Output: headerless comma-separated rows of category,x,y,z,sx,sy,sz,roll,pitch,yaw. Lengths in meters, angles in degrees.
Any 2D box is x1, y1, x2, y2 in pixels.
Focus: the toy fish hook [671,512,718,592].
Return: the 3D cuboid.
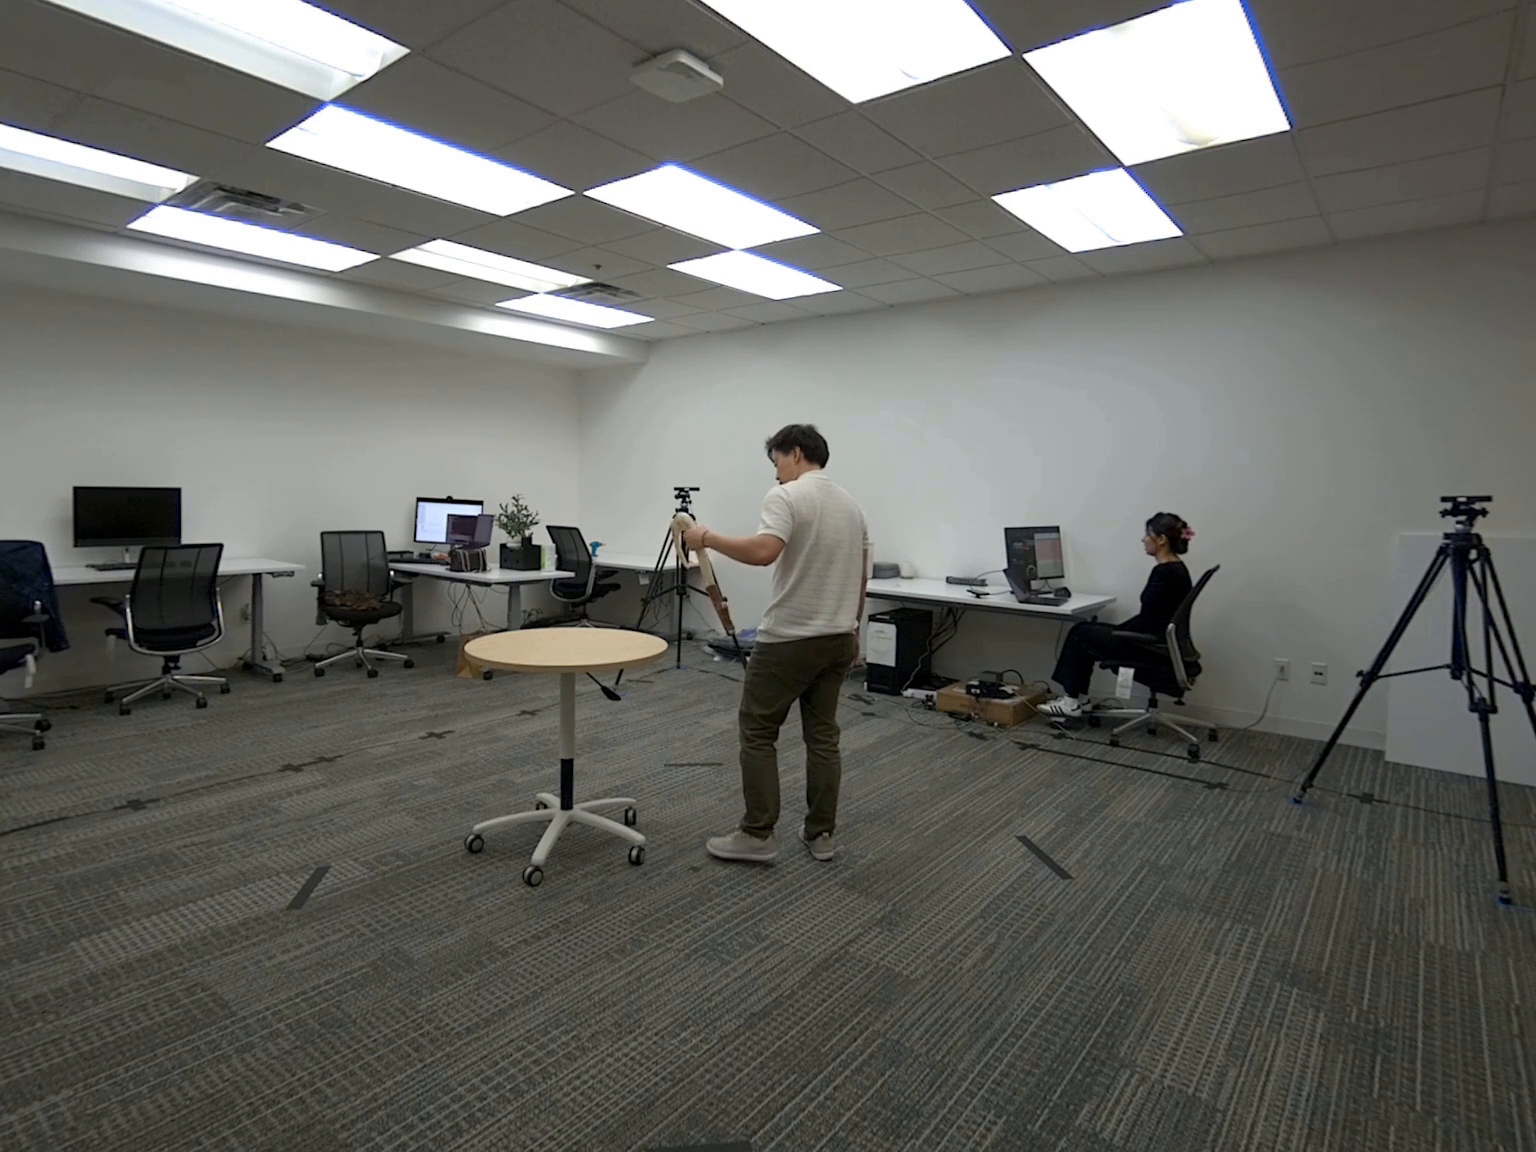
toy fish hook,-0.270,0.003,3.230,0.047,0.514,0.225,-18,-12,-27
